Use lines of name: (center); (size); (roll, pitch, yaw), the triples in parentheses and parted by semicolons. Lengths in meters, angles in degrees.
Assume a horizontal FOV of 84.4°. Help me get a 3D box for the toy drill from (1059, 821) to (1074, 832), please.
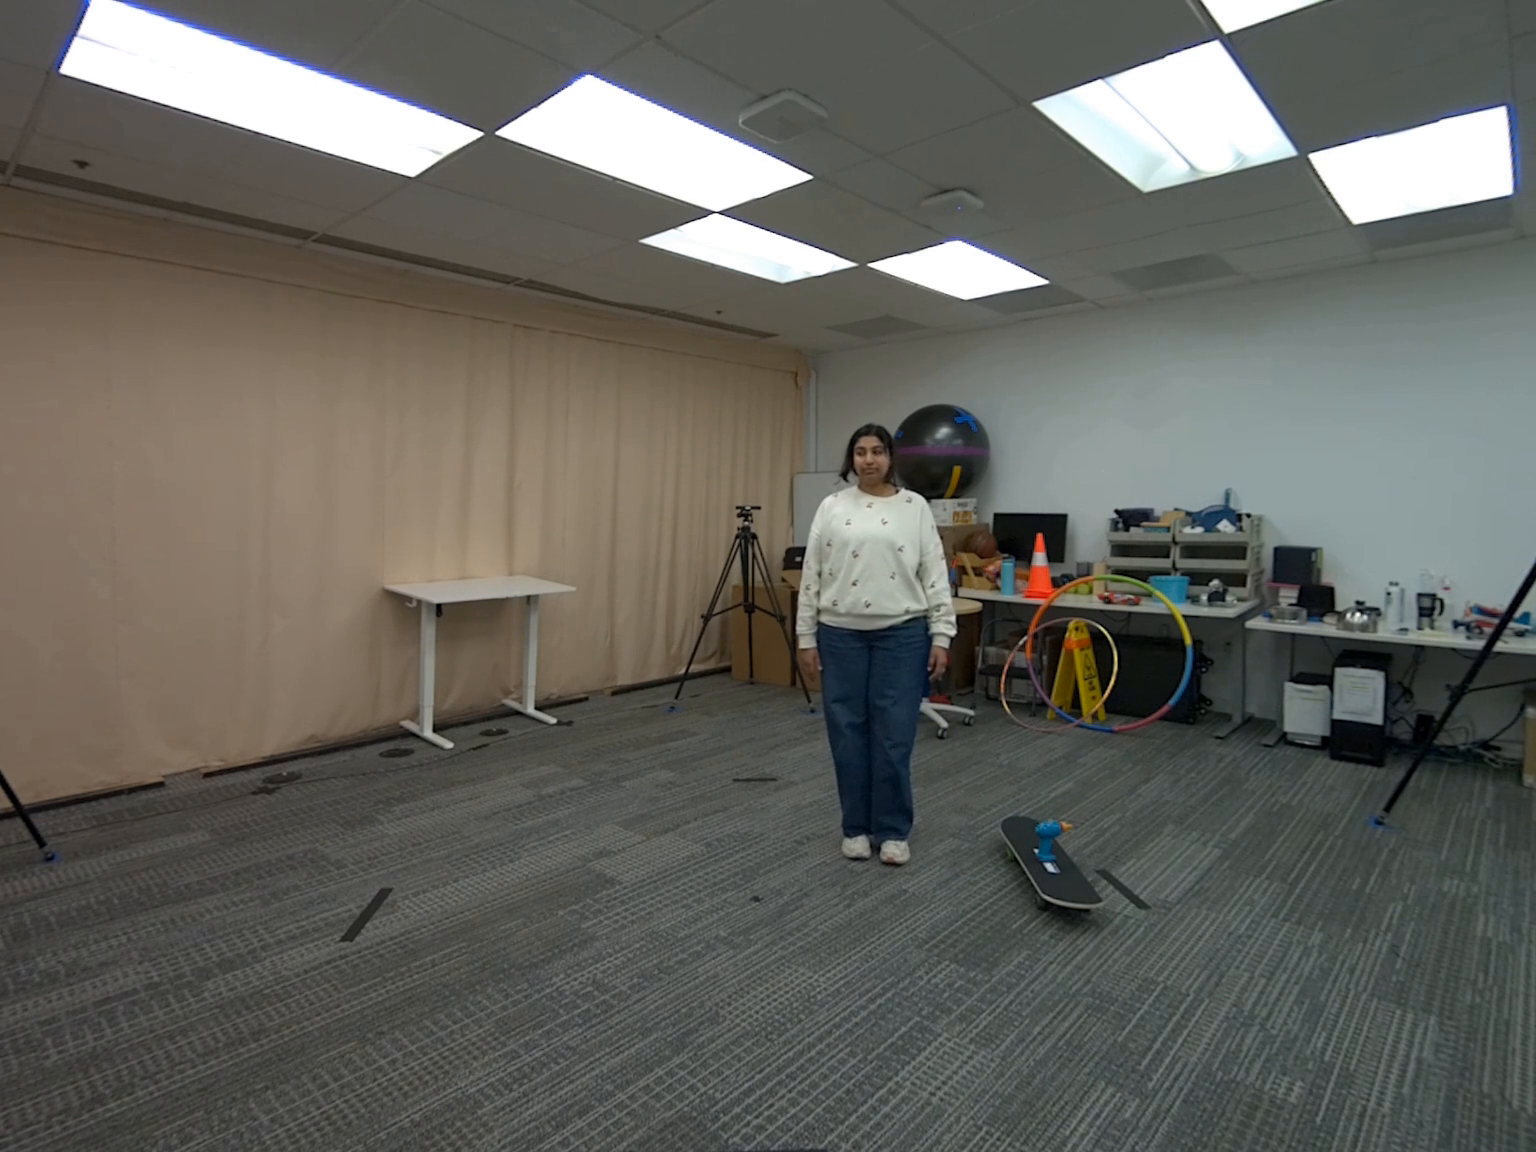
toy drill: (1.076, 0.976, 3.091); (0.167, 0.145, 0.062); (1, 4, -17)
